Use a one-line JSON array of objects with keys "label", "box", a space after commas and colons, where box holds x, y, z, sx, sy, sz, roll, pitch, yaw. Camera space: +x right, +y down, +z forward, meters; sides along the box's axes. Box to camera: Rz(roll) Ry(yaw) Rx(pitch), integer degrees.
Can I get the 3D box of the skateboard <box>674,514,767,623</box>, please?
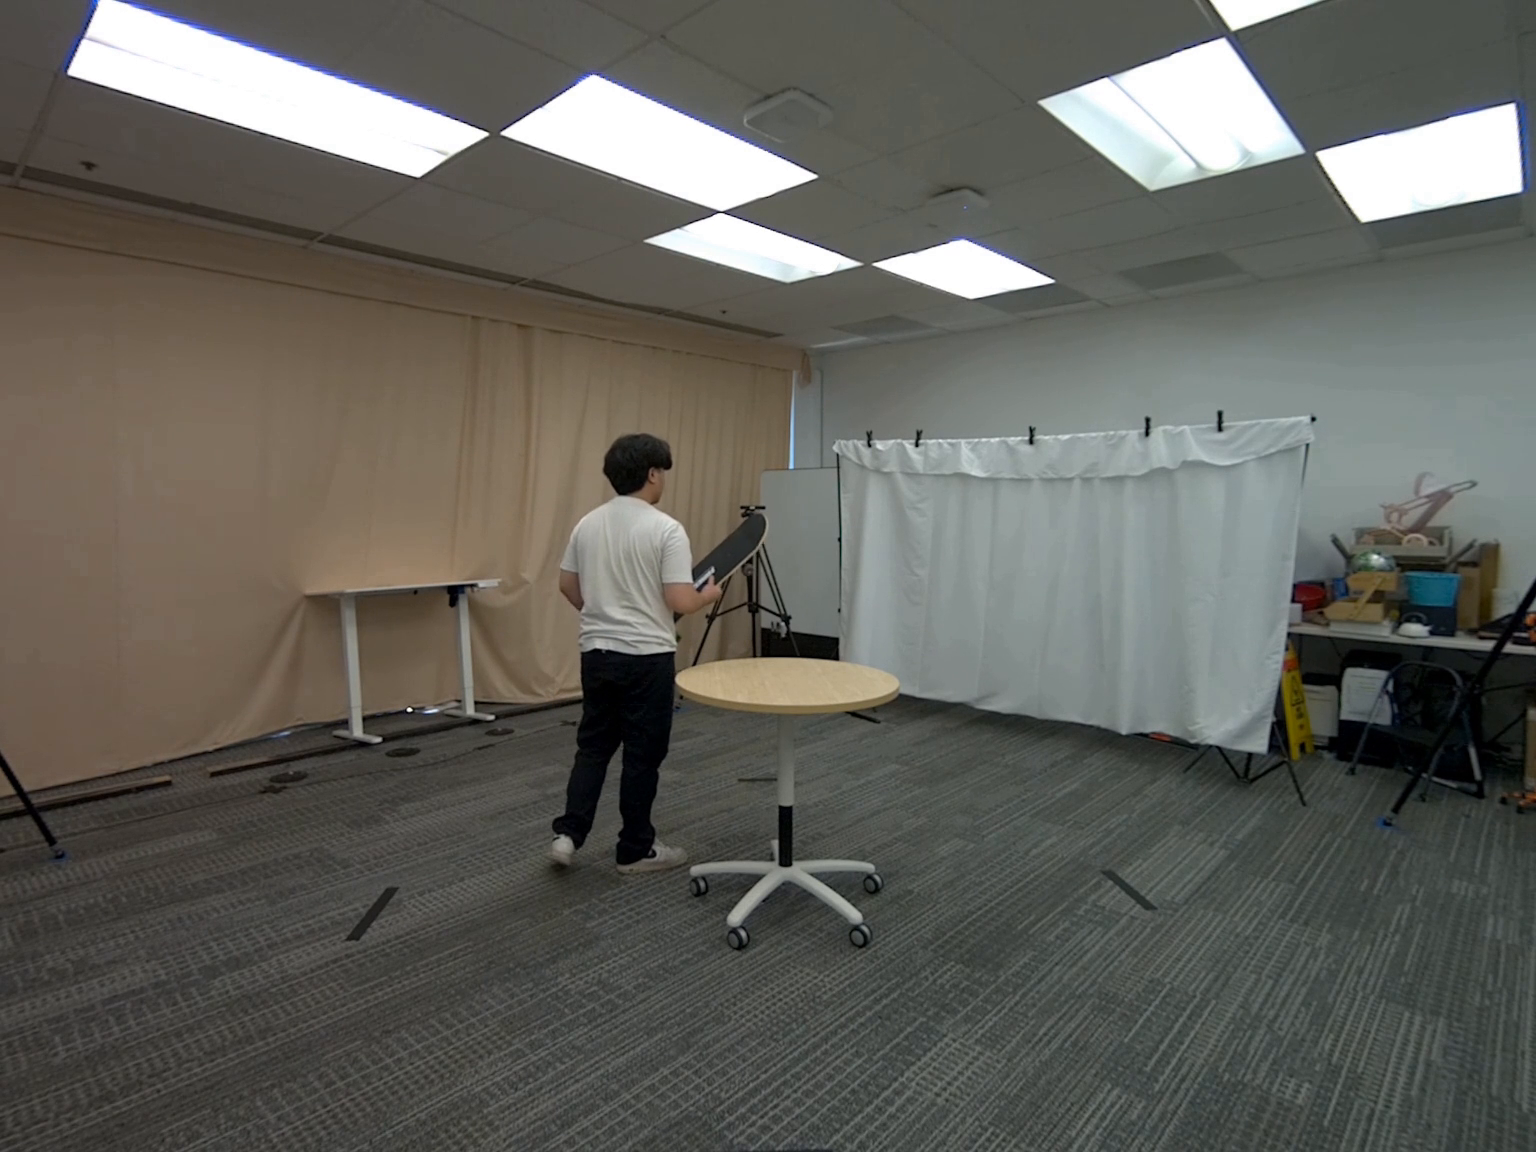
[{"label": "skateboard", "box": [-0.279, 0.057, 3.426, 0.106, 0.787, 0.200, 44, 6, -40]}]
